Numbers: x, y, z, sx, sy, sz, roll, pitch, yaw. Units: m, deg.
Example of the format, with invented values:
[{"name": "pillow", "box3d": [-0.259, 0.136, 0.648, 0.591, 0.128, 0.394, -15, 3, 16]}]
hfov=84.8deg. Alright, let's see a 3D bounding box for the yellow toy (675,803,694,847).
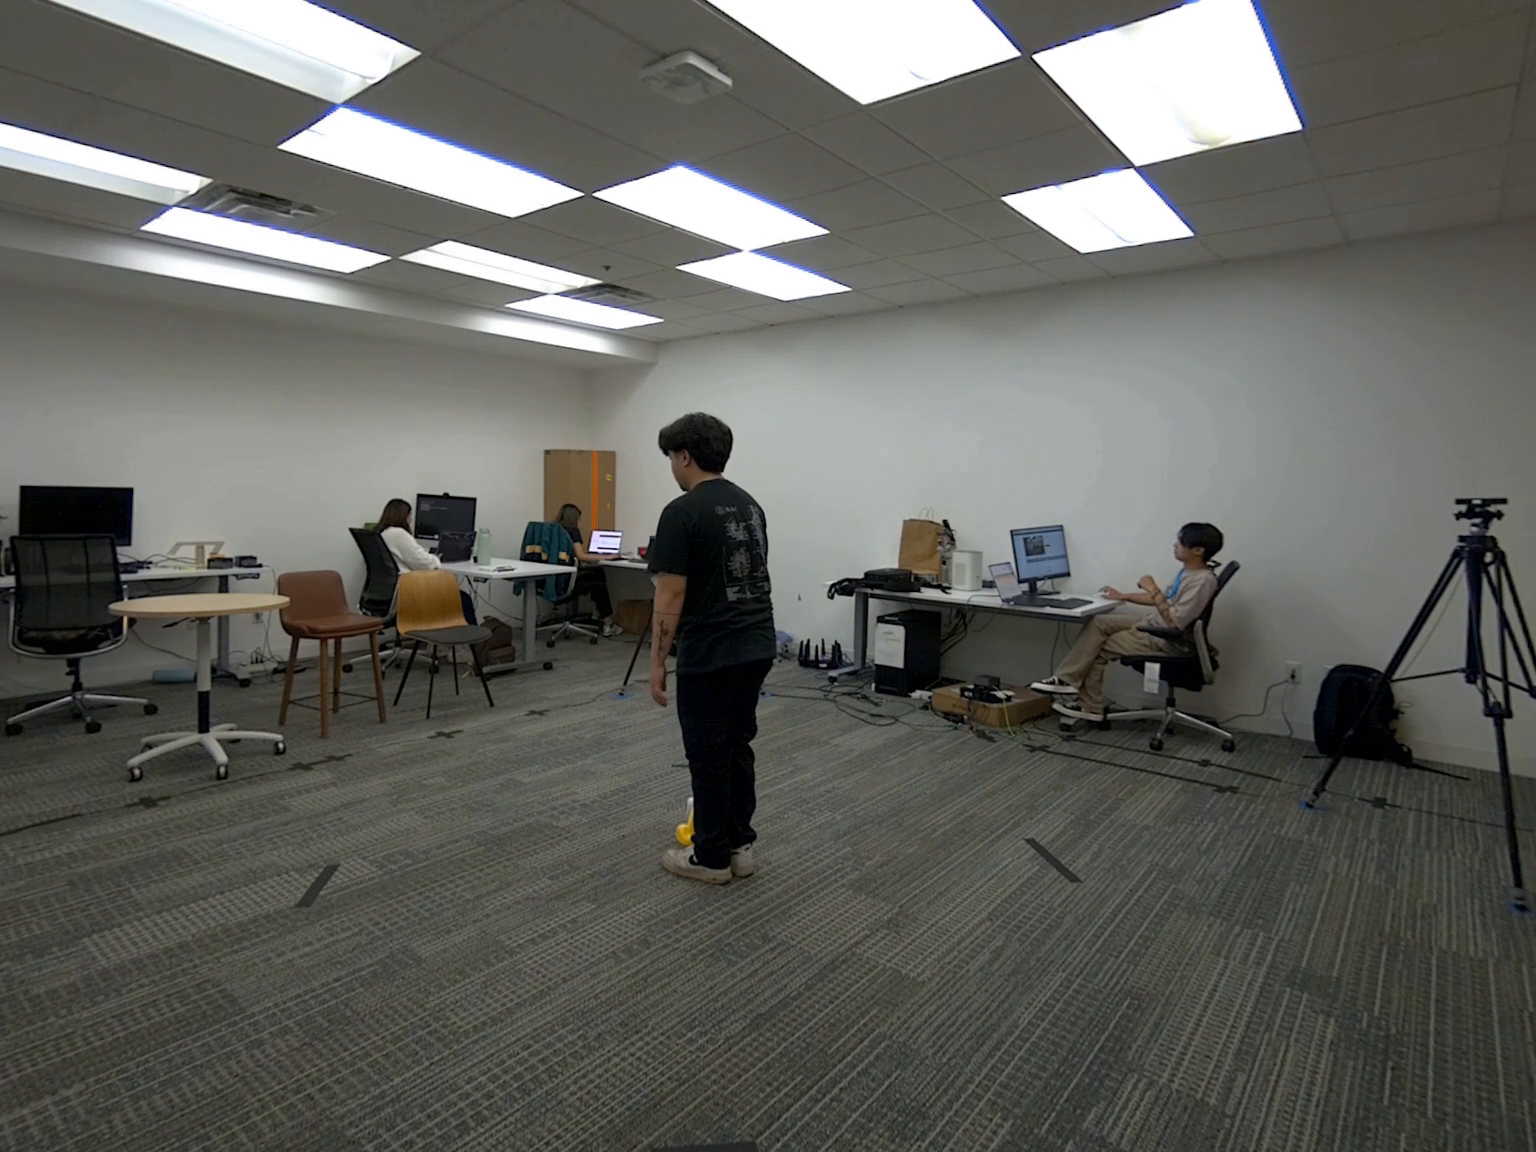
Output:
[{"name": "yellow toy", "box3d": [-0.269, 0.925, 3.386, 0.199, 0.230, 0.199, -2, 6, -29]}]
